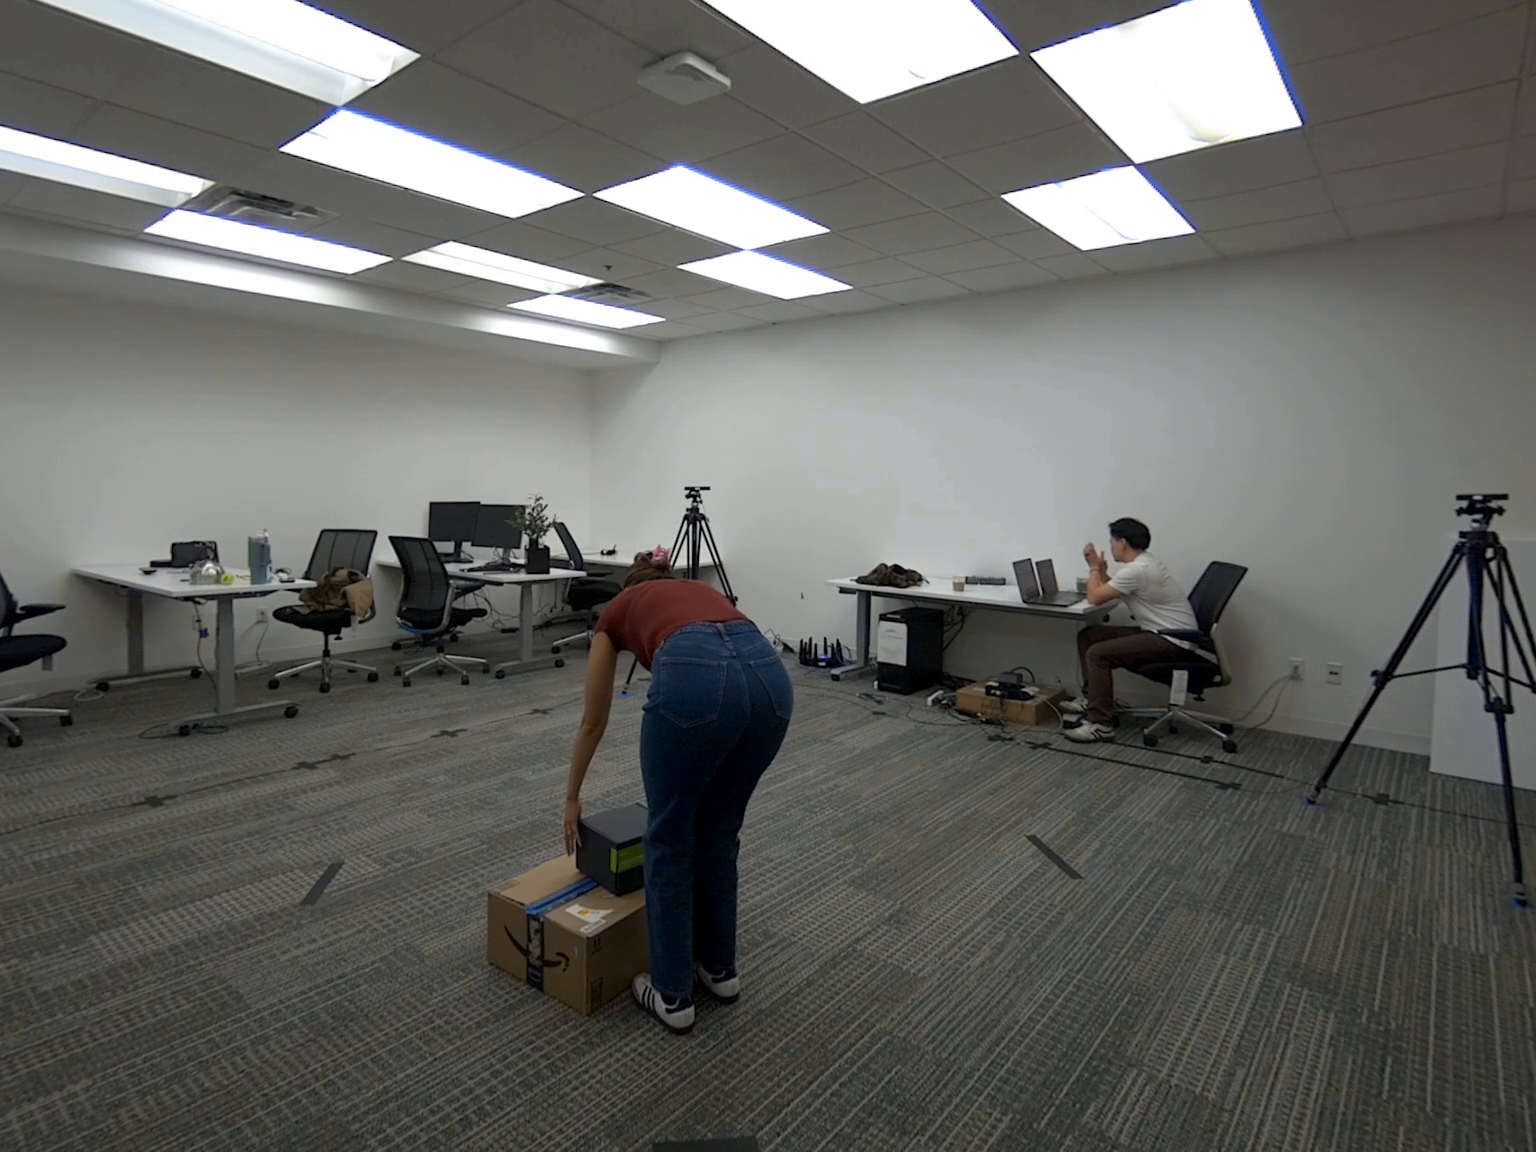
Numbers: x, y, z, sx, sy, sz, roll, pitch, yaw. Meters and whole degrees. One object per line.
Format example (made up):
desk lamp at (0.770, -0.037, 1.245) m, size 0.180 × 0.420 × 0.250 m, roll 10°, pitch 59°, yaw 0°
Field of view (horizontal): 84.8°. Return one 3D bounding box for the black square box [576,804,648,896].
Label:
black square box at (-0.438, 0.815, 2.573) m, size 0.221 × 0.155 × 0.225 m, roll -3°, pitch 8°, yaw -44°
